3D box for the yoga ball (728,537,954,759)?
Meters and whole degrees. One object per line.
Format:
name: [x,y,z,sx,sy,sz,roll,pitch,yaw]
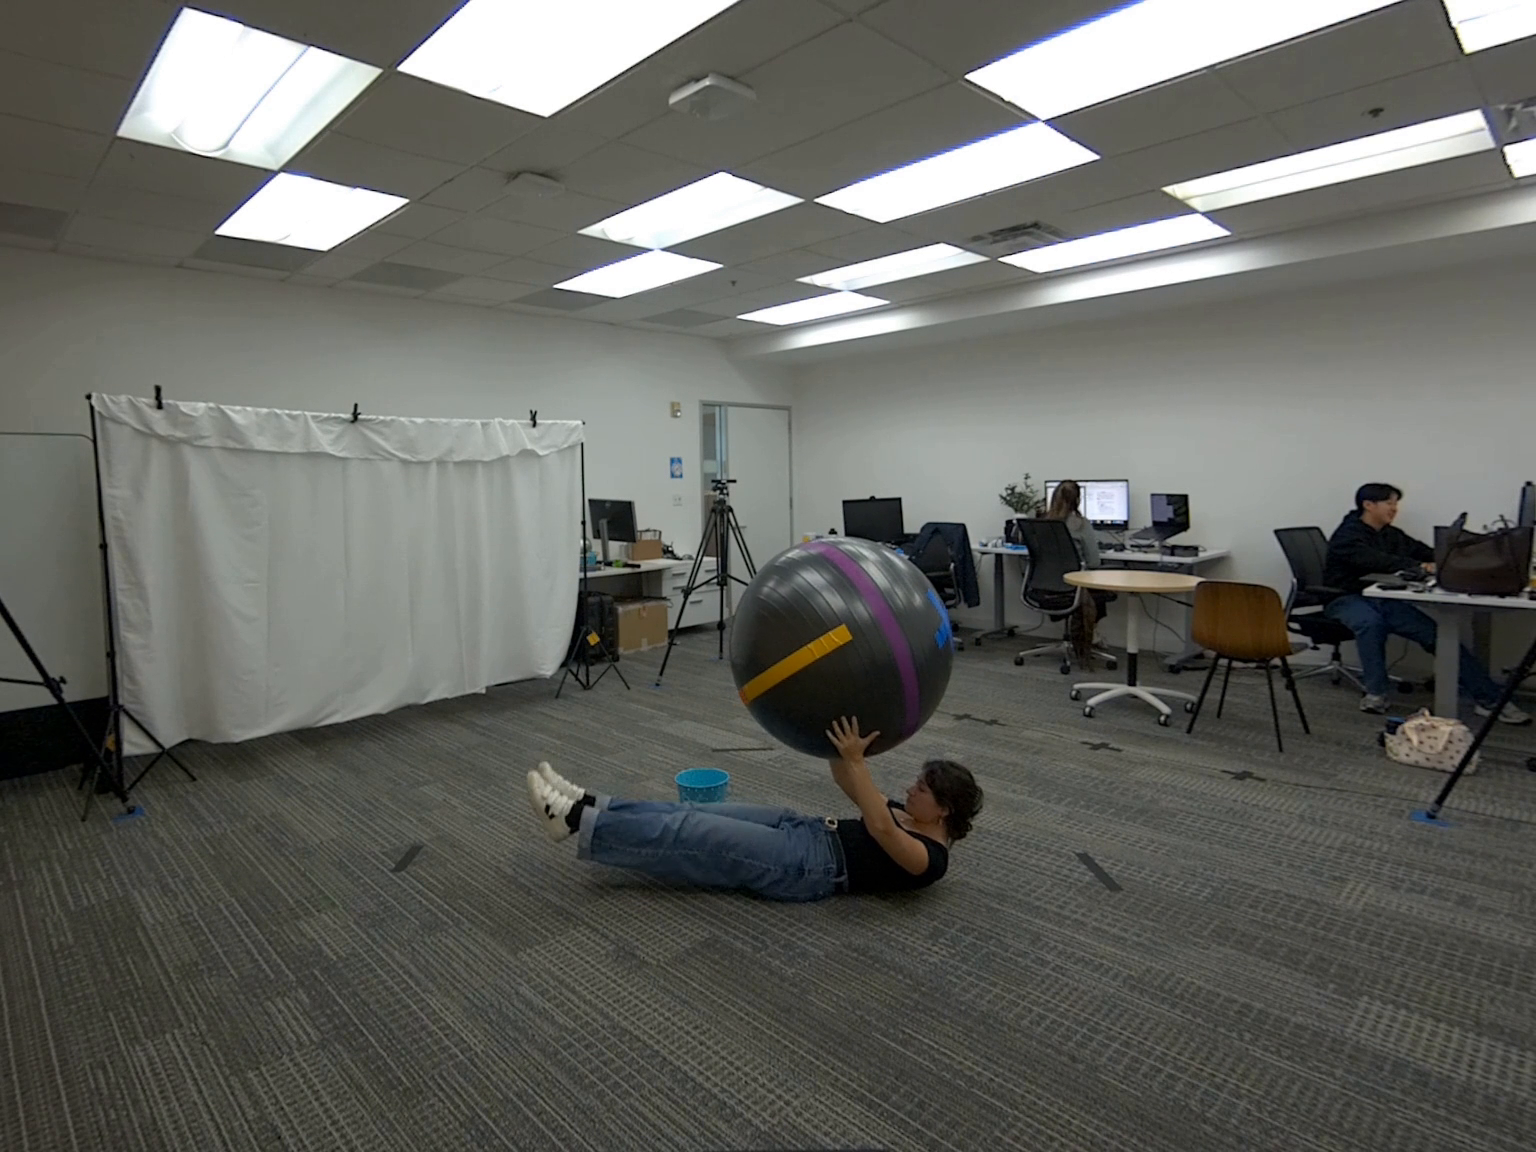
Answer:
yoga ball: [0.244,0.246,2.934,0.757,0.755,0.762,-1,5,-2]
